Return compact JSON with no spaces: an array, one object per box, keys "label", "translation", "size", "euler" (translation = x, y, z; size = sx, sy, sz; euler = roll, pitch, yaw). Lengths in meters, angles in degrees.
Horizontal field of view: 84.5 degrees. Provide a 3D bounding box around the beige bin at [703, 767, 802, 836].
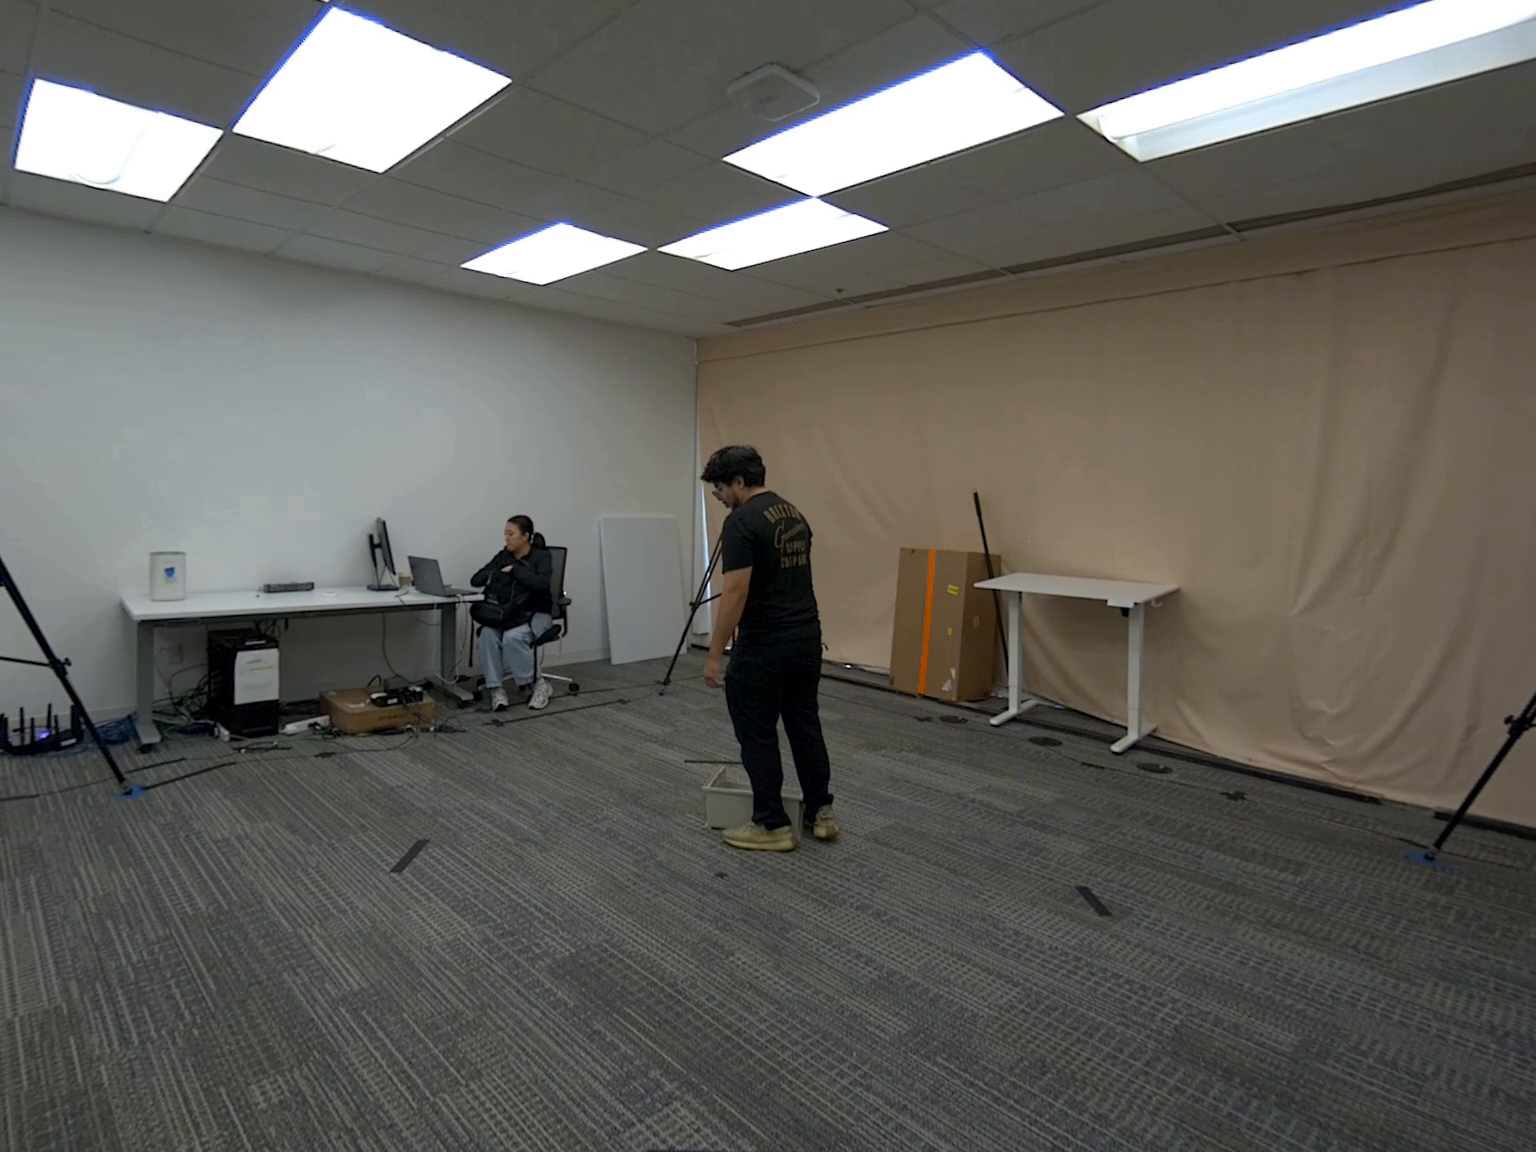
[{"label":"beige bin","translation":[-0.053,0.969,3.666],"size":[0.427,0.188,0.375],"euler":[3,6,12]}]
